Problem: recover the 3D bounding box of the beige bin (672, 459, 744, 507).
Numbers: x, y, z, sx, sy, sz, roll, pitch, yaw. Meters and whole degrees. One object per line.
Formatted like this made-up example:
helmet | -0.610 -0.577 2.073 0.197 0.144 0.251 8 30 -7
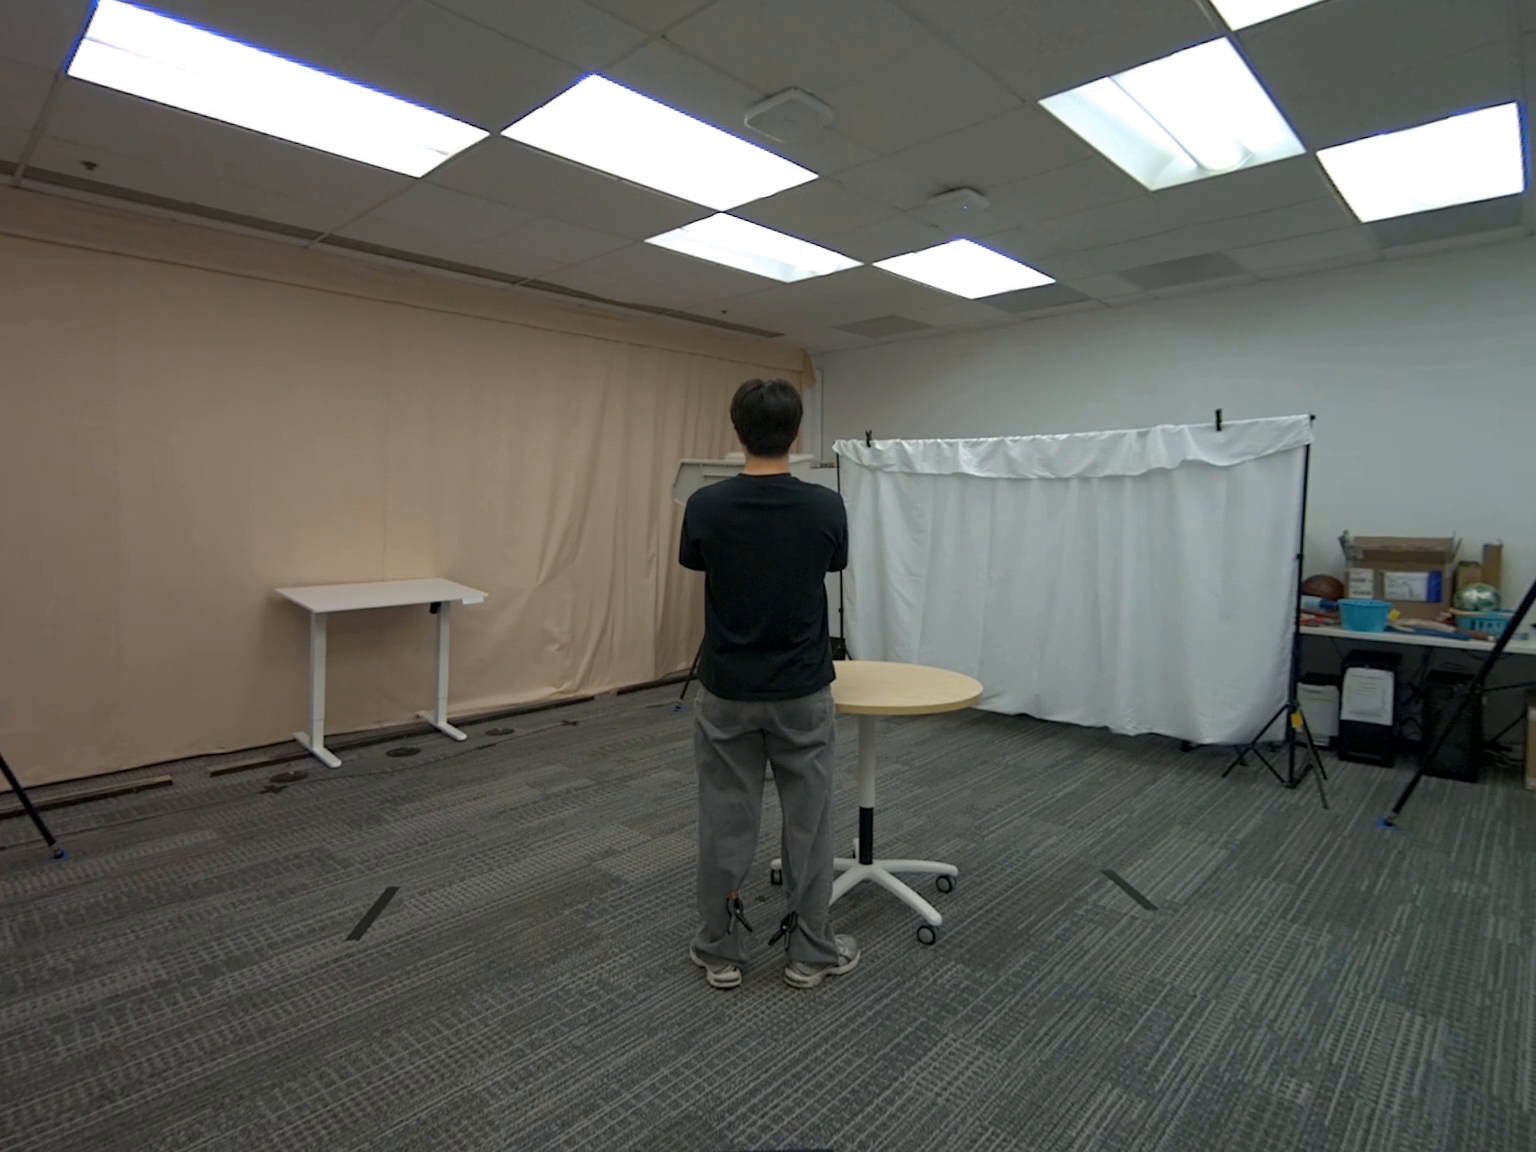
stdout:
beige bin | -0.080 -0.334 2.980 0.386 0.188 0.415 6 11 22
